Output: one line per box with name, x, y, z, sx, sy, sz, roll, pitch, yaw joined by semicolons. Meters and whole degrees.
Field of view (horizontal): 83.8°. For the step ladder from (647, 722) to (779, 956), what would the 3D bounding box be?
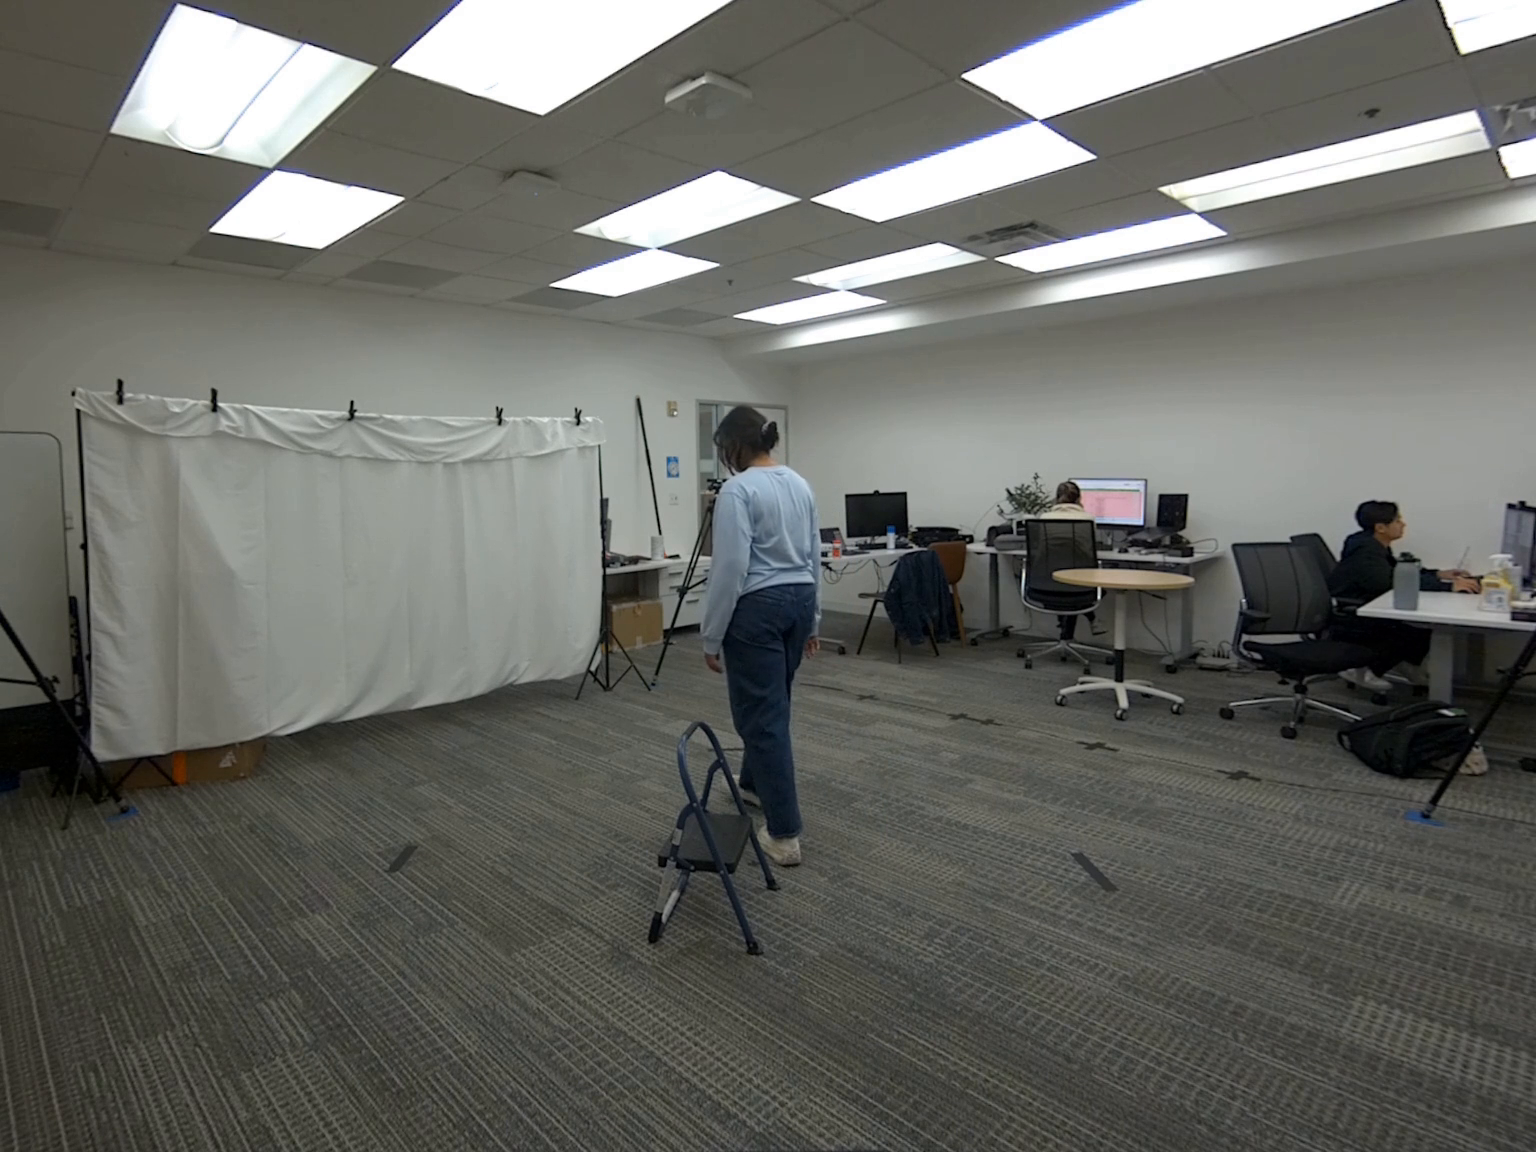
step ladder;-0.170;0.786;2.730;0.353;0.604;0.428;0;5;9
